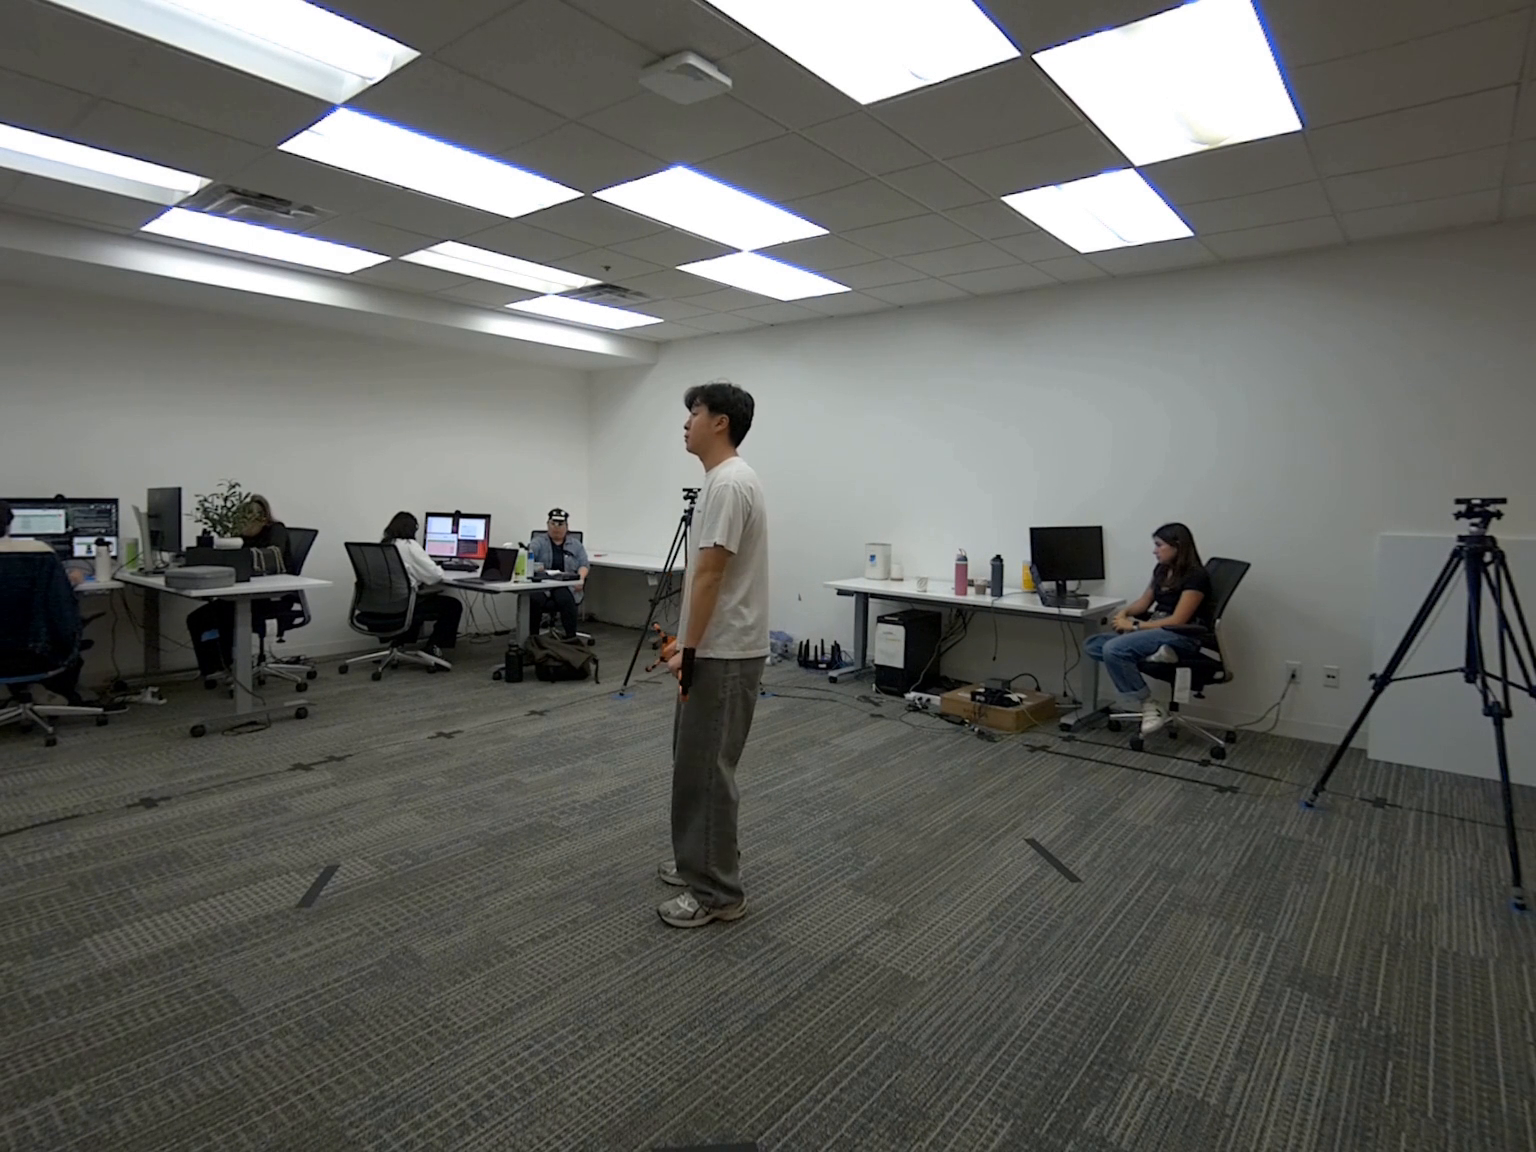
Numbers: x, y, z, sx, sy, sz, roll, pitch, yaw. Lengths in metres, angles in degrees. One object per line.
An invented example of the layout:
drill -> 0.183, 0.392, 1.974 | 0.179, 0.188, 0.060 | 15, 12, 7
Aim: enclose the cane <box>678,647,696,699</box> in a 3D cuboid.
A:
cane -> -0.368, 0.268, 2.864 | 0.151, 0.206, 0.912 | 12, 0, -6
